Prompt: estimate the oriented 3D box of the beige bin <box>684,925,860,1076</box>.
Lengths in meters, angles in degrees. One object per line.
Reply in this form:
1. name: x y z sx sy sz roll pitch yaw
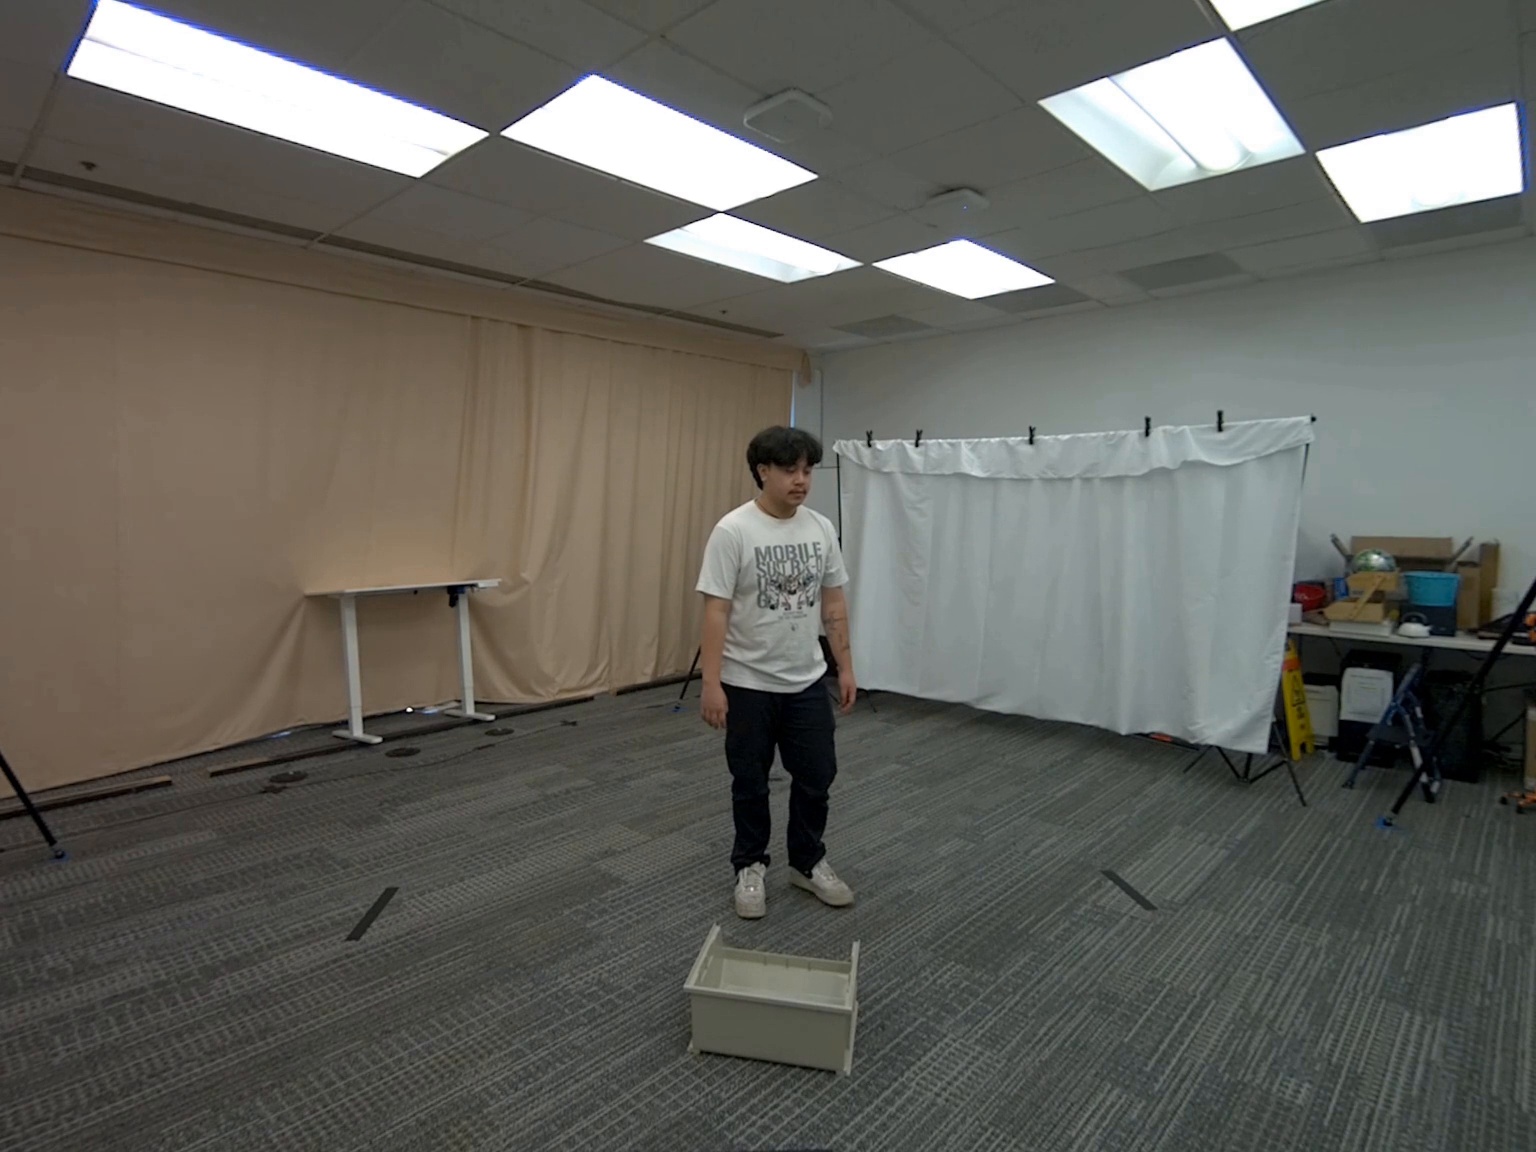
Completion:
1. beige bin: 0.026 1.114 2.263 0.428 0.188 0.373 2 5 11
